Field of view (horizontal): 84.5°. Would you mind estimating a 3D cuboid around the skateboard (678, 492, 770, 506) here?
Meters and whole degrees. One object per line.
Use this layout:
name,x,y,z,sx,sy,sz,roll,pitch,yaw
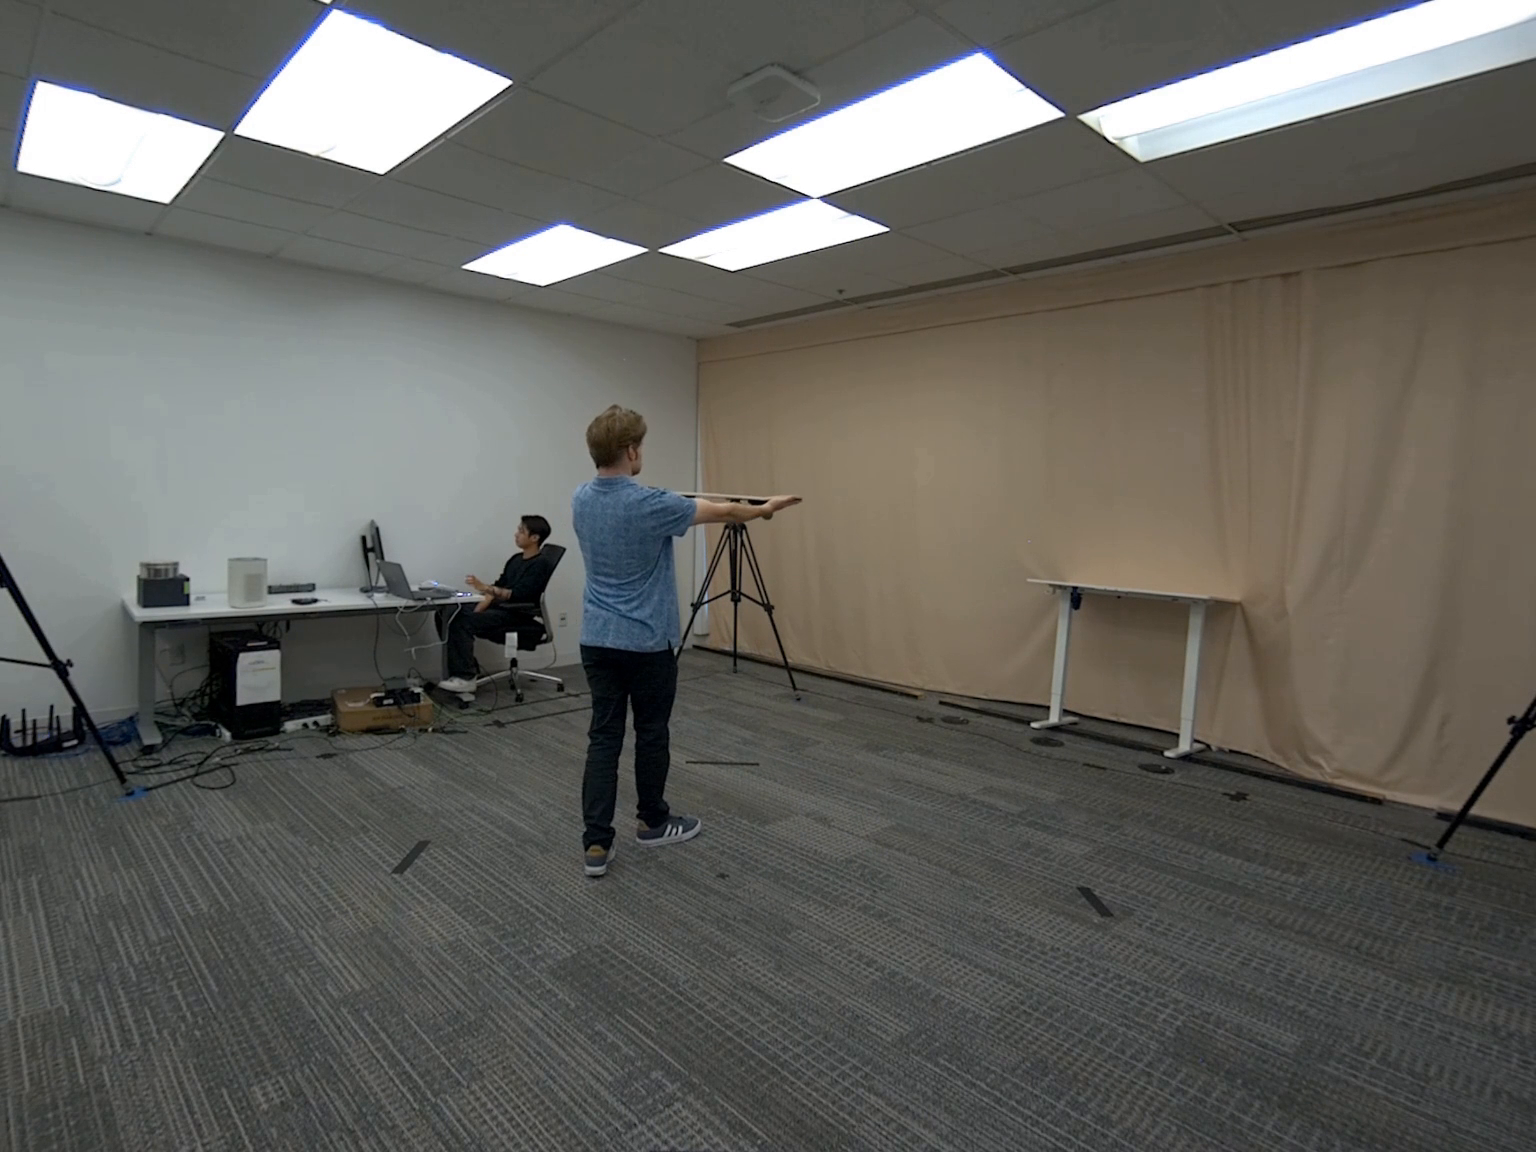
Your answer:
skateboard,-0.231,-0.310,3.638,0.802,0.110,0.190,5,5,28
